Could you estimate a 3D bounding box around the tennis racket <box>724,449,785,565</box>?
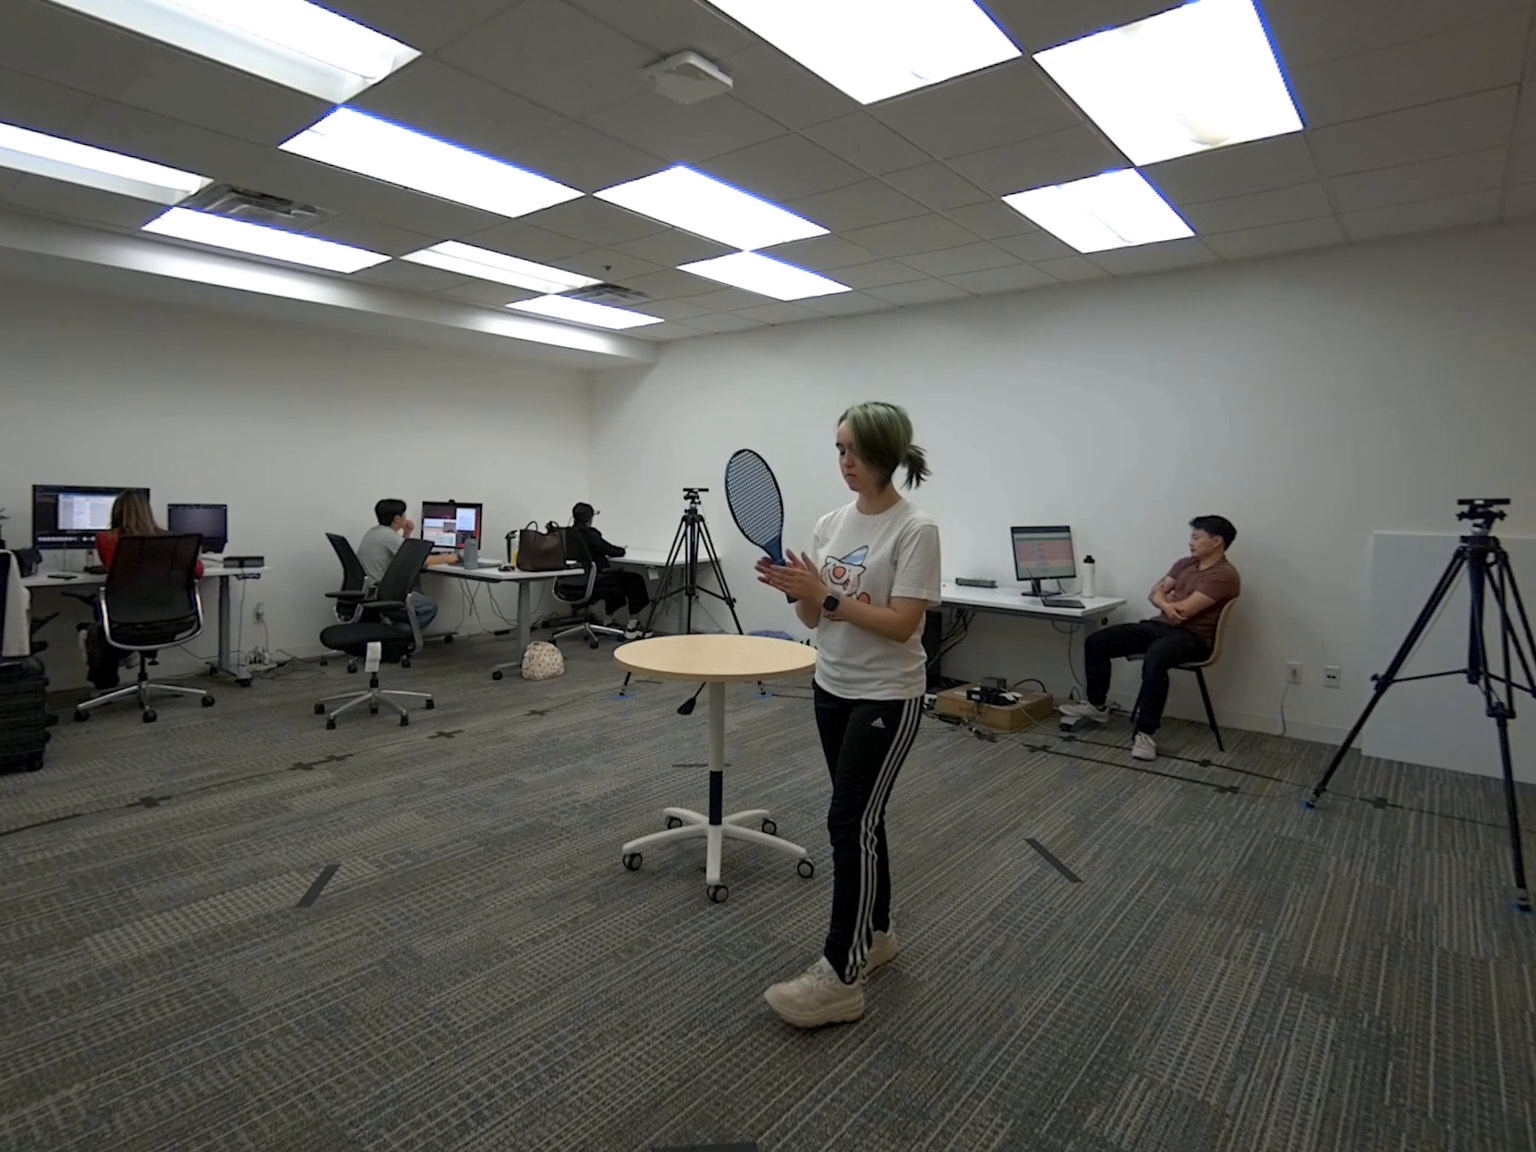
[{"bbox_3d":[-0.011,-0.135,2.269,0.032,0.423,0.212,-6,24,41],"label":"tennis racket"}]
